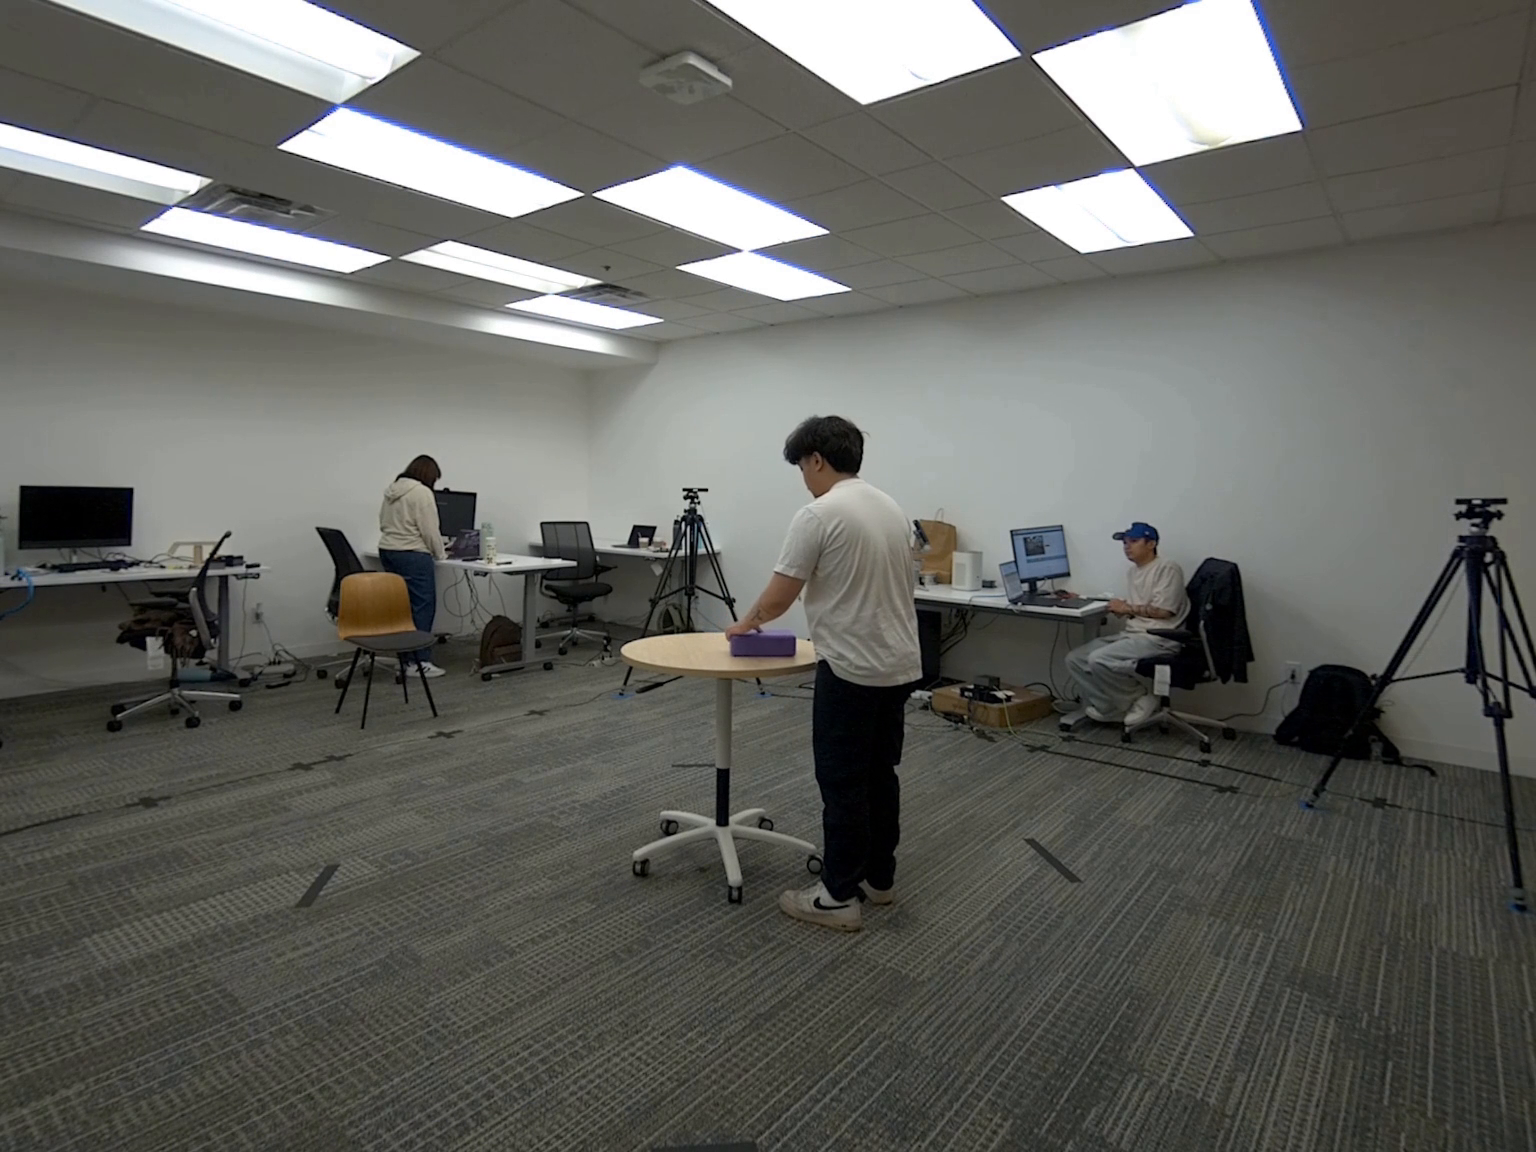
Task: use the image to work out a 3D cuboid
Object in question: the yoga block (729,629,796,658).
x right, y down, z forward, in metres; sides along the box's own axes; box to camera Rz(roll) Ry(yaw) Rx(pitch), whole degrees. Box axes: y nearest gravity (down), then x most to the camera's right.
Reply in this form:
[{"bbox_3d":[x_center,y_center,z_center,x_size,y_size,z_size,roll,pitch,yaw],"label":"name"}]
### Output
[{"bbox_3d":[-0.033,0.239,3.070,0.229,0.076,0.150,0,7,-3],"label":"yoga block"}]
